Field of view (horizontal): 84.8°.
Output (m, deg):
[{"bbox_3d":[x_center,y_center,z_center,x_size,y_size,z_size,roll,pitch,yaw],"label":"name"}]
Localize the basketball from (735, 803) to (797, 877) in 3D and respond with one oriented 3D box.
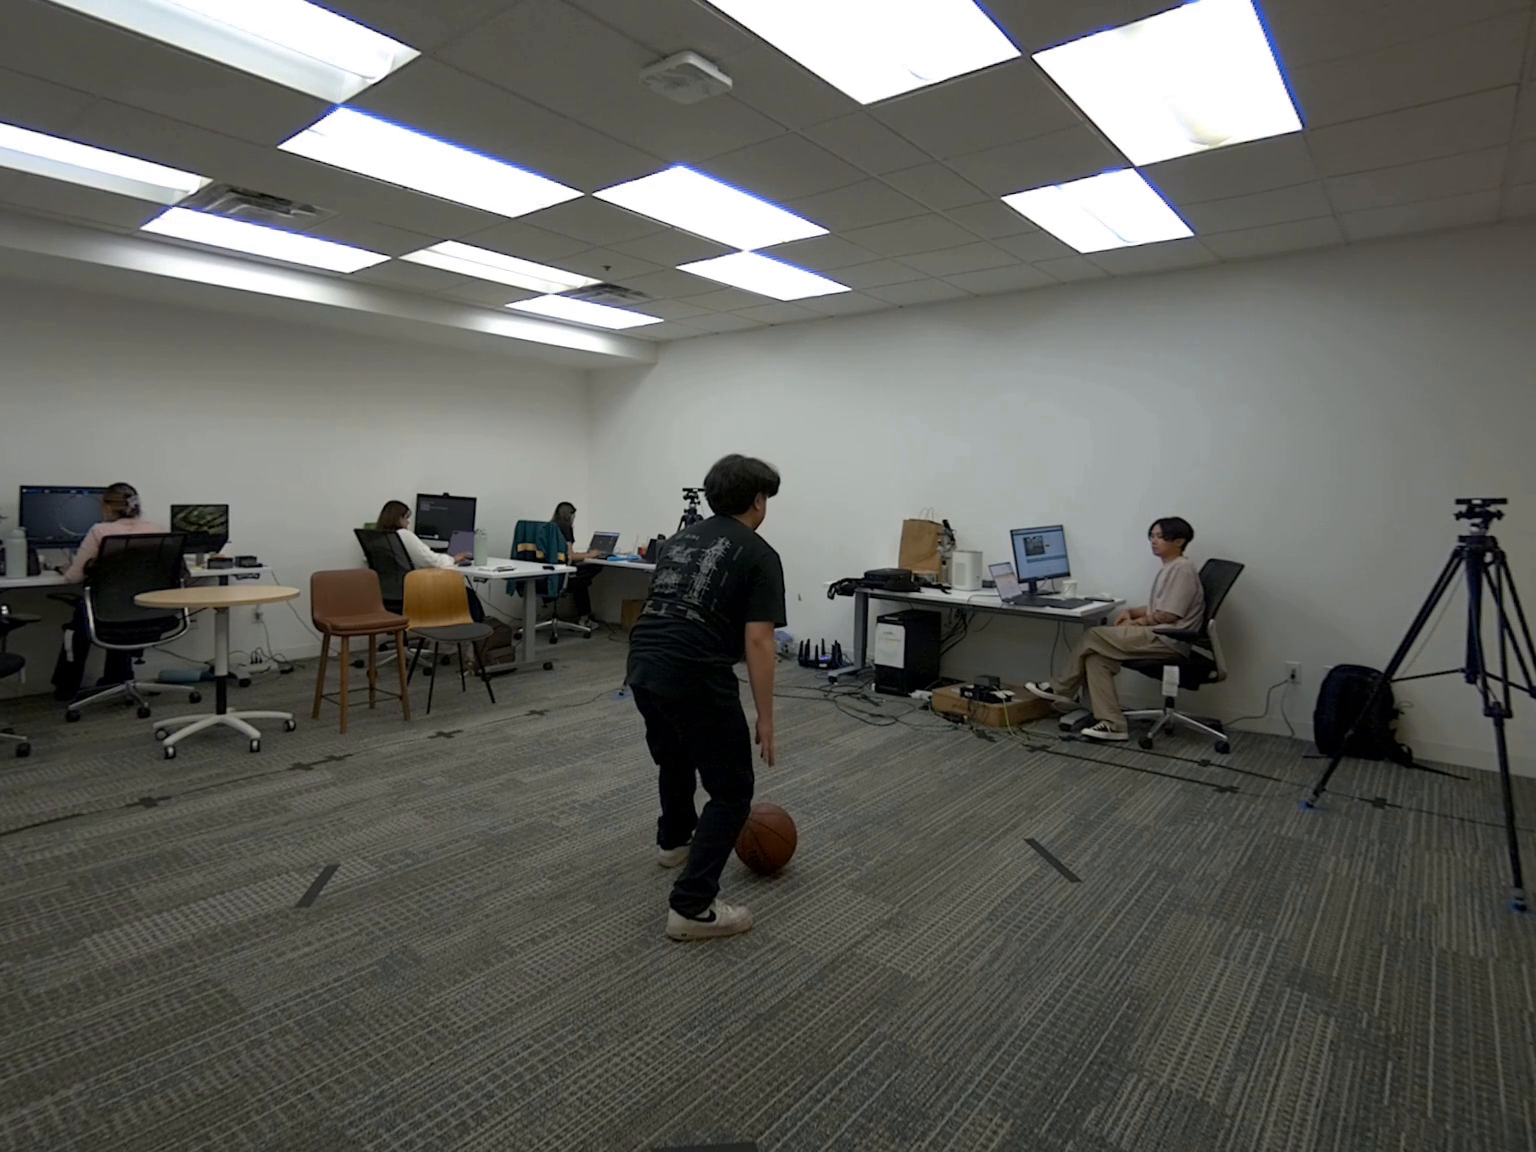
[{"bbox_3d":[-0.015,0.955,3.118,0.235,0.235,0.237,1,4,-2],"label":"basketball"}]
